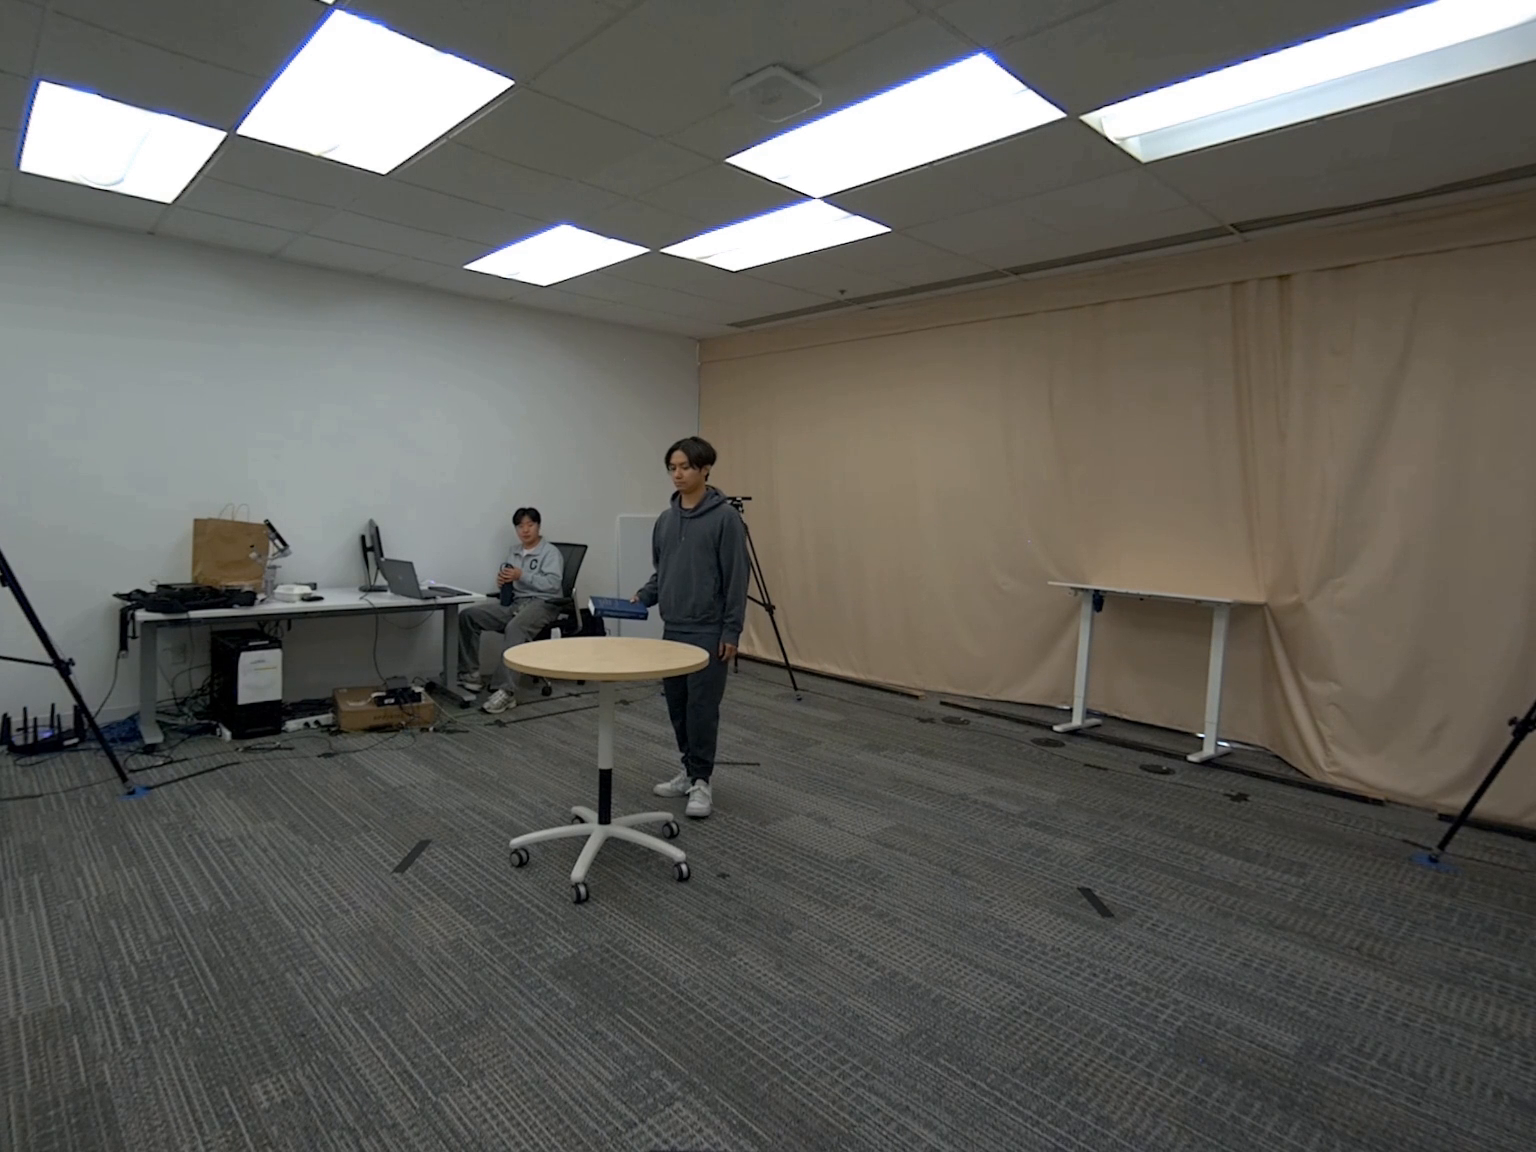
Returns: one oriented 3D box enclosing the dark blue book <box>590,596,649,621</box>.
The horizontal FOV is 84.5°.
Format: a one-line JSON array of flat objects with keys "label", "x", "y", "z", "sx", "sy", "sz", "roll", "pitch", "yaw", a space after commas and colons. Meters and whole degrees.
[{"label": "dark blue book", "x": -0.677, "y": 0.148, "z": 3.742, "sx": 0.241, "sy": 0.045, "sz": 0.167, "roll": 6, "pitch": 13, "yaw": -18}]
